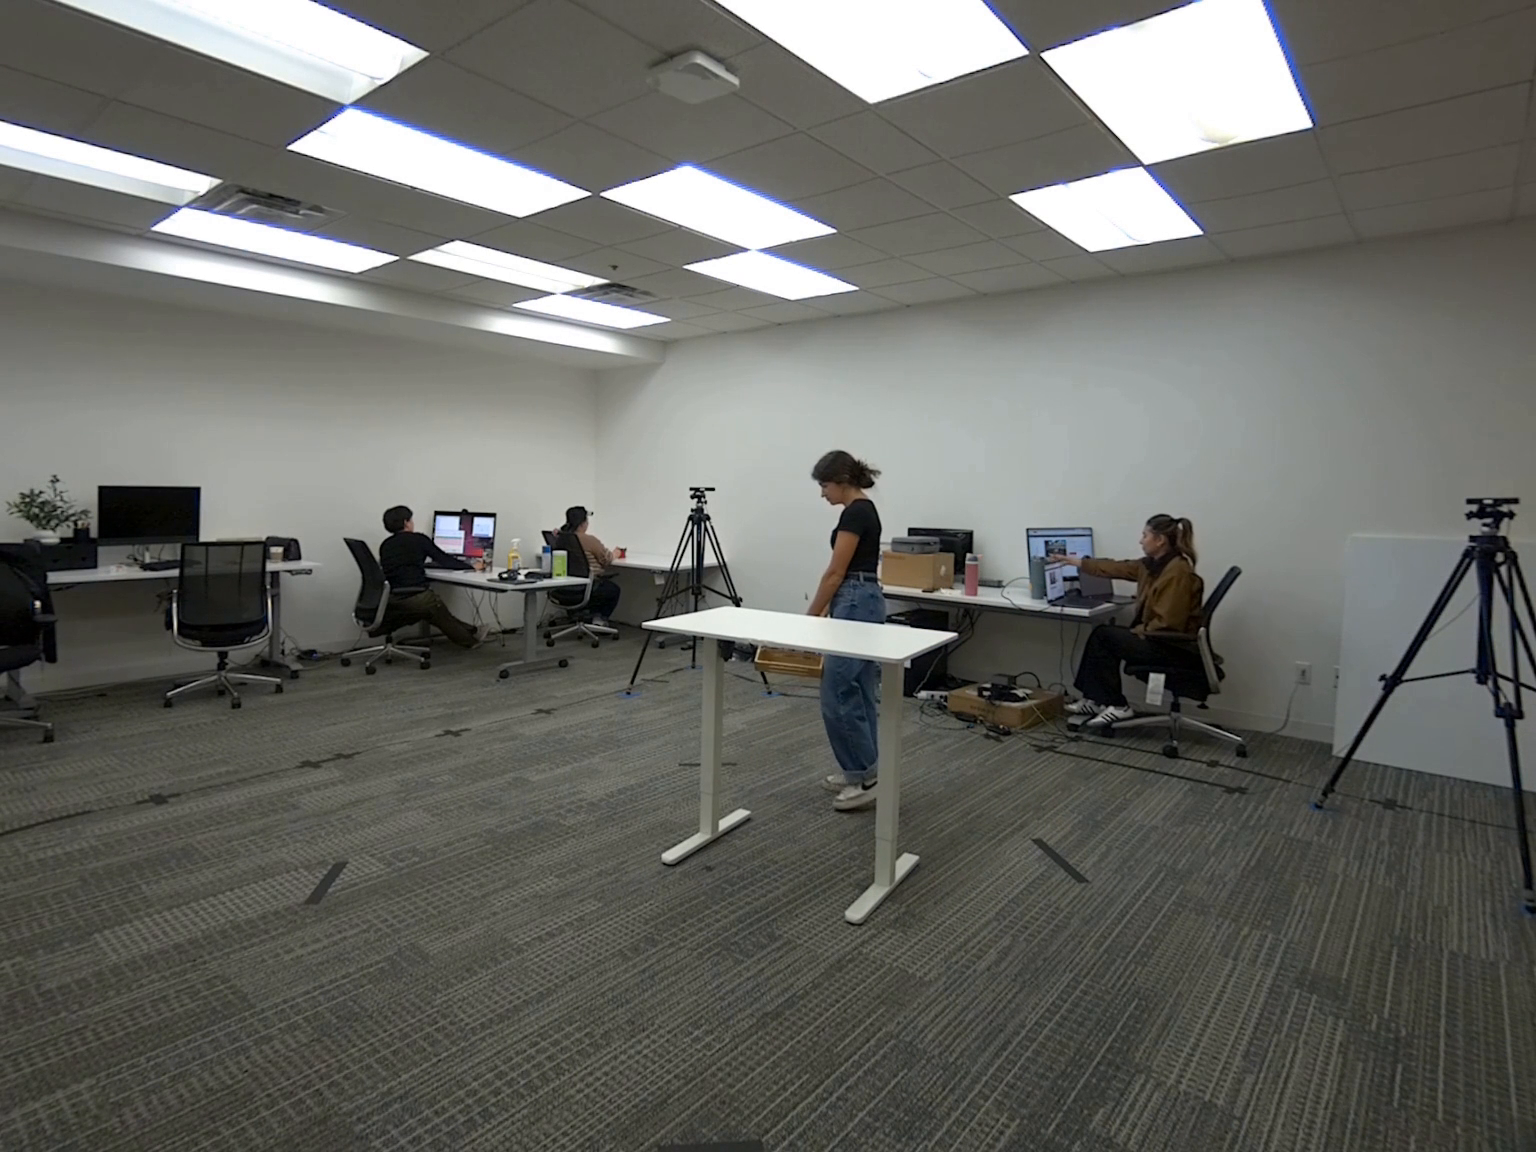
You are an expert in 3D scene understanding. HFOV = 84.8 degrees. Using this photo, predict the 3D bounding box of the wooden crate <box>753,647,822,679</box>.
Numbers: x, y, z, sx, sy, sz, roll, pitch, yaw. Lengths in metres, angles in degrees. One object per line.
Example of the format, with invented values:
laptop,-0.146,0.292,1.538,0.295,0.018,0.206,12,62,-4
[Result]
wooden crate,0.109,0.313,3.944,0.329,0.274,0.297,5,-3,11
